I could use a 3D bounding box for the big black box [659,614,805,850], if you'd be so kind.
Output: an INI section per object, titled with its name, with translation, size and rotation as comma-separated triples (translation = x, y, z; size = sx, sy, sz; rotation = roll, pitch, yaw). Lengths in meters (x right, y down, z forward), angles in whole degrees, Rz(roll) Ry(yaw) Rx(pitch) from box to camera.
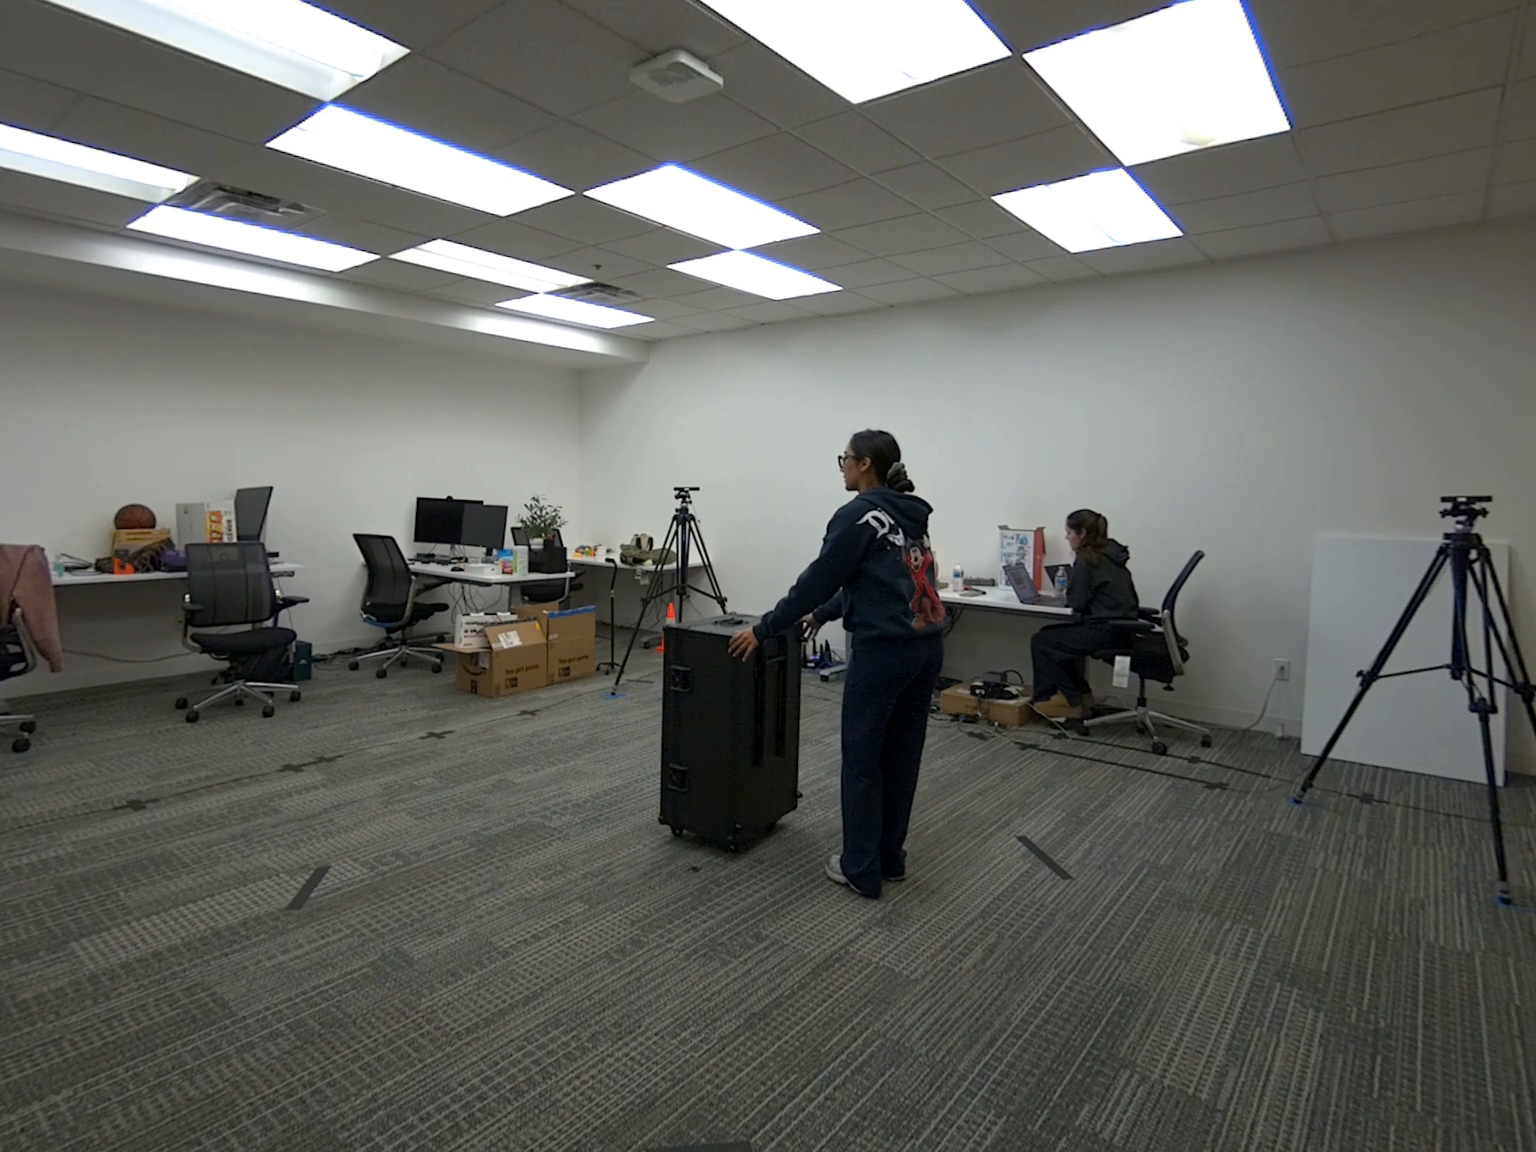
[big black box]
translation = -0.145, 0.615, 3.420
size = 0.409, 0.859, 0.507
rotation = 5, 5, 34
